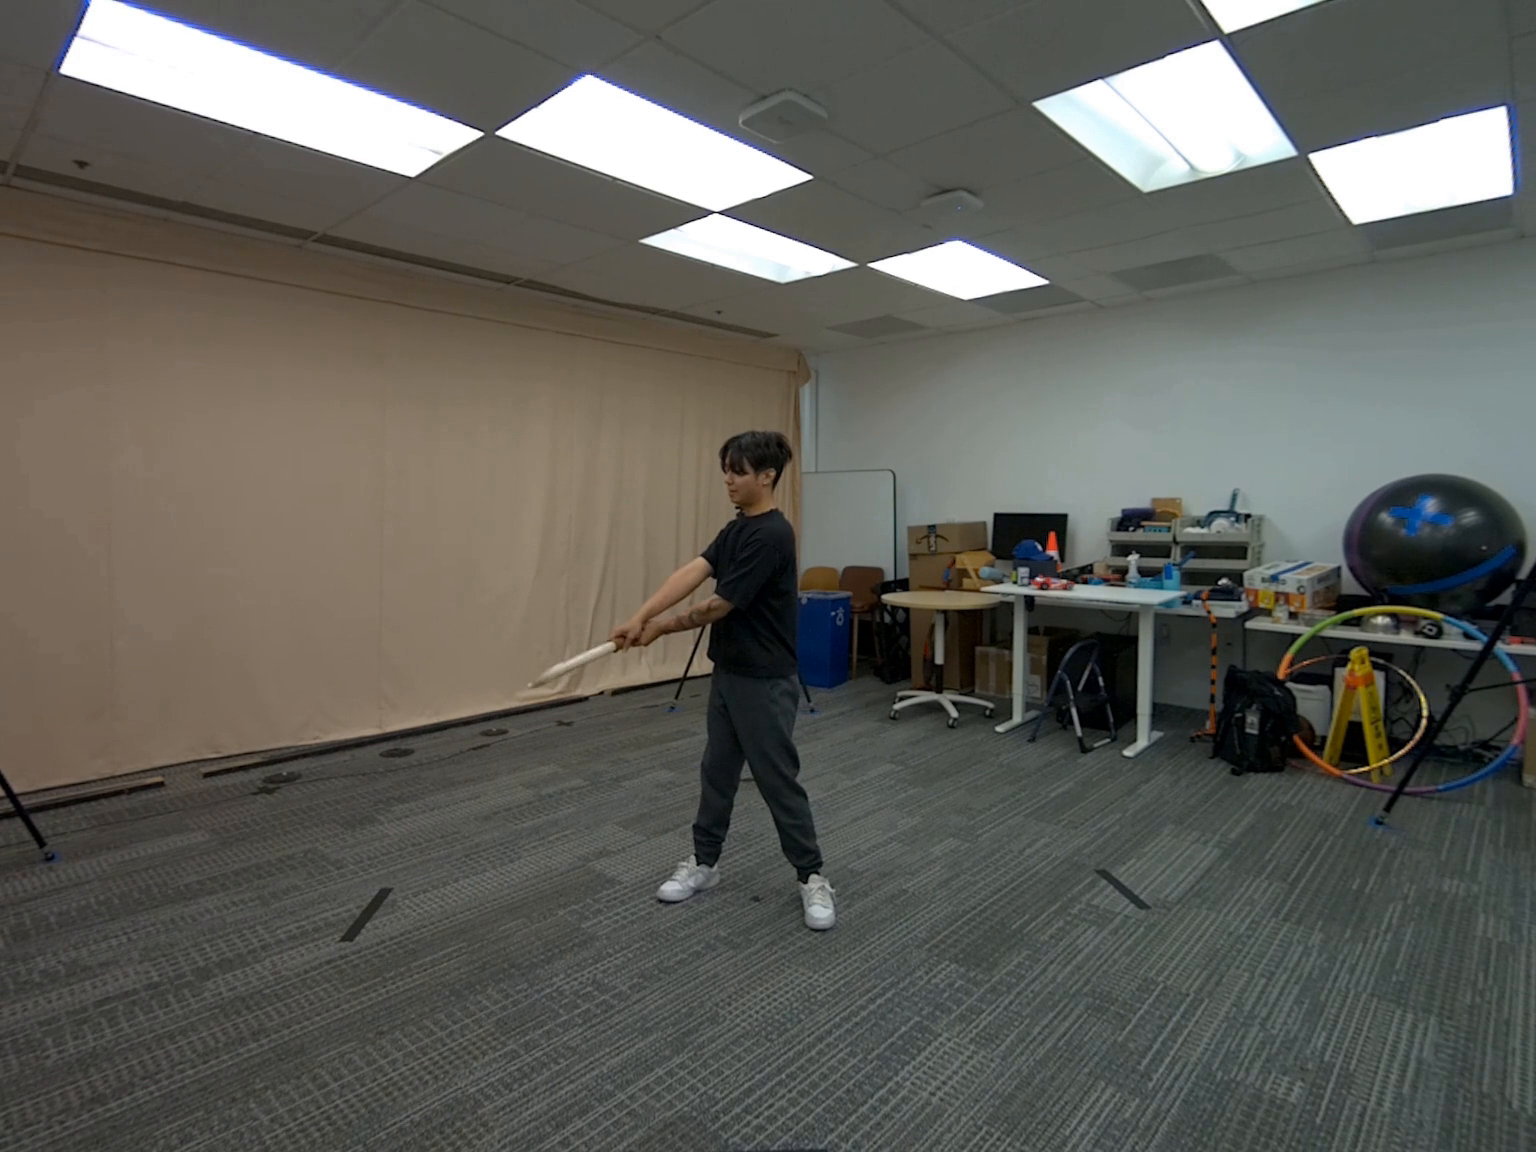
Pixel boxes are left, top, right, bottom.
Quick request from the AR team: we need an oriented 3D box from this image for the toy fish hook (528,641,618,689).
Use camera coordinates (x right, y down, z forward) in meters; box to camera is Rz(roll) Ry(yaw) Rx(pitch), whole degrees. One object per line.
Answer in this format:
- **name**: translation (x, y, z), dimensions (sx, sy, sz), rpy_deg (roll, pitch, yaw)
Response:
- **toy fish hook**: translation (-0.590, 0.256, 2.828), dimensions (0.229, 0.048, 0.495), rpy_deg (-23, 0, 39)
